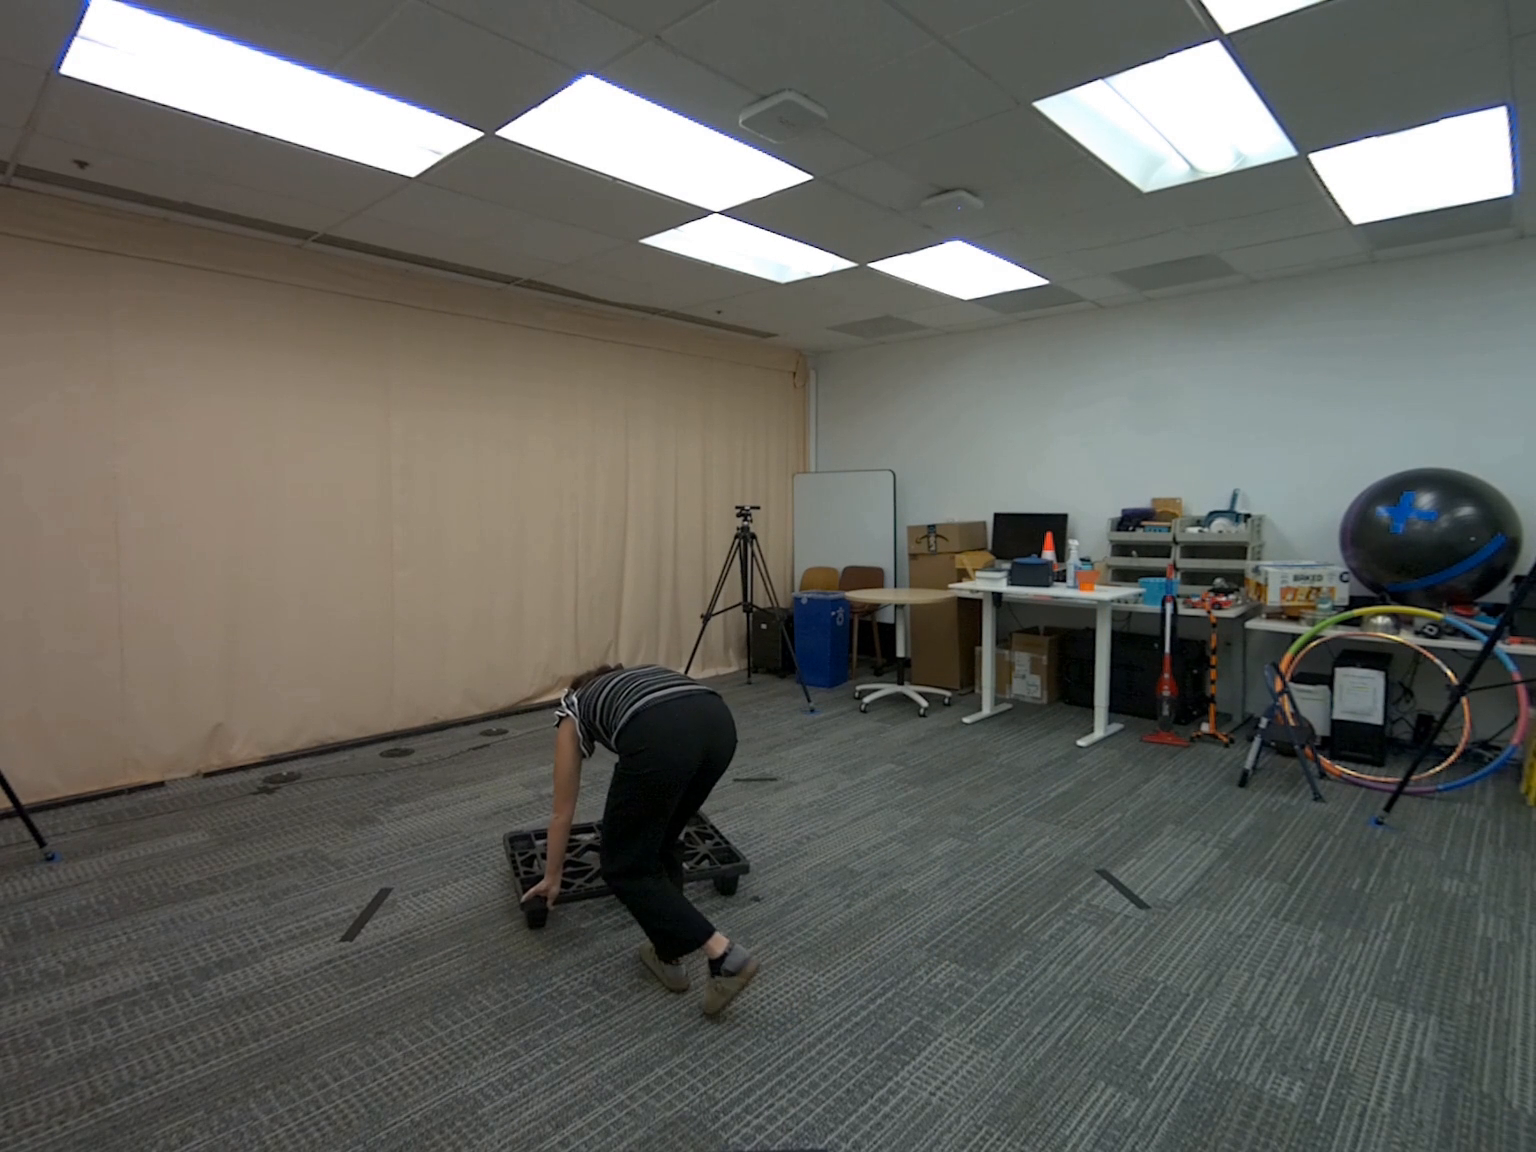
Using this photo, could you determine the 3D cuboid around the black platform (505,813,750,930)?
[{"bbox_3d":[-0.540,1.068,3.108,0.789,0.143,0.619,-2,4,-21],"label":"black platform"}]
